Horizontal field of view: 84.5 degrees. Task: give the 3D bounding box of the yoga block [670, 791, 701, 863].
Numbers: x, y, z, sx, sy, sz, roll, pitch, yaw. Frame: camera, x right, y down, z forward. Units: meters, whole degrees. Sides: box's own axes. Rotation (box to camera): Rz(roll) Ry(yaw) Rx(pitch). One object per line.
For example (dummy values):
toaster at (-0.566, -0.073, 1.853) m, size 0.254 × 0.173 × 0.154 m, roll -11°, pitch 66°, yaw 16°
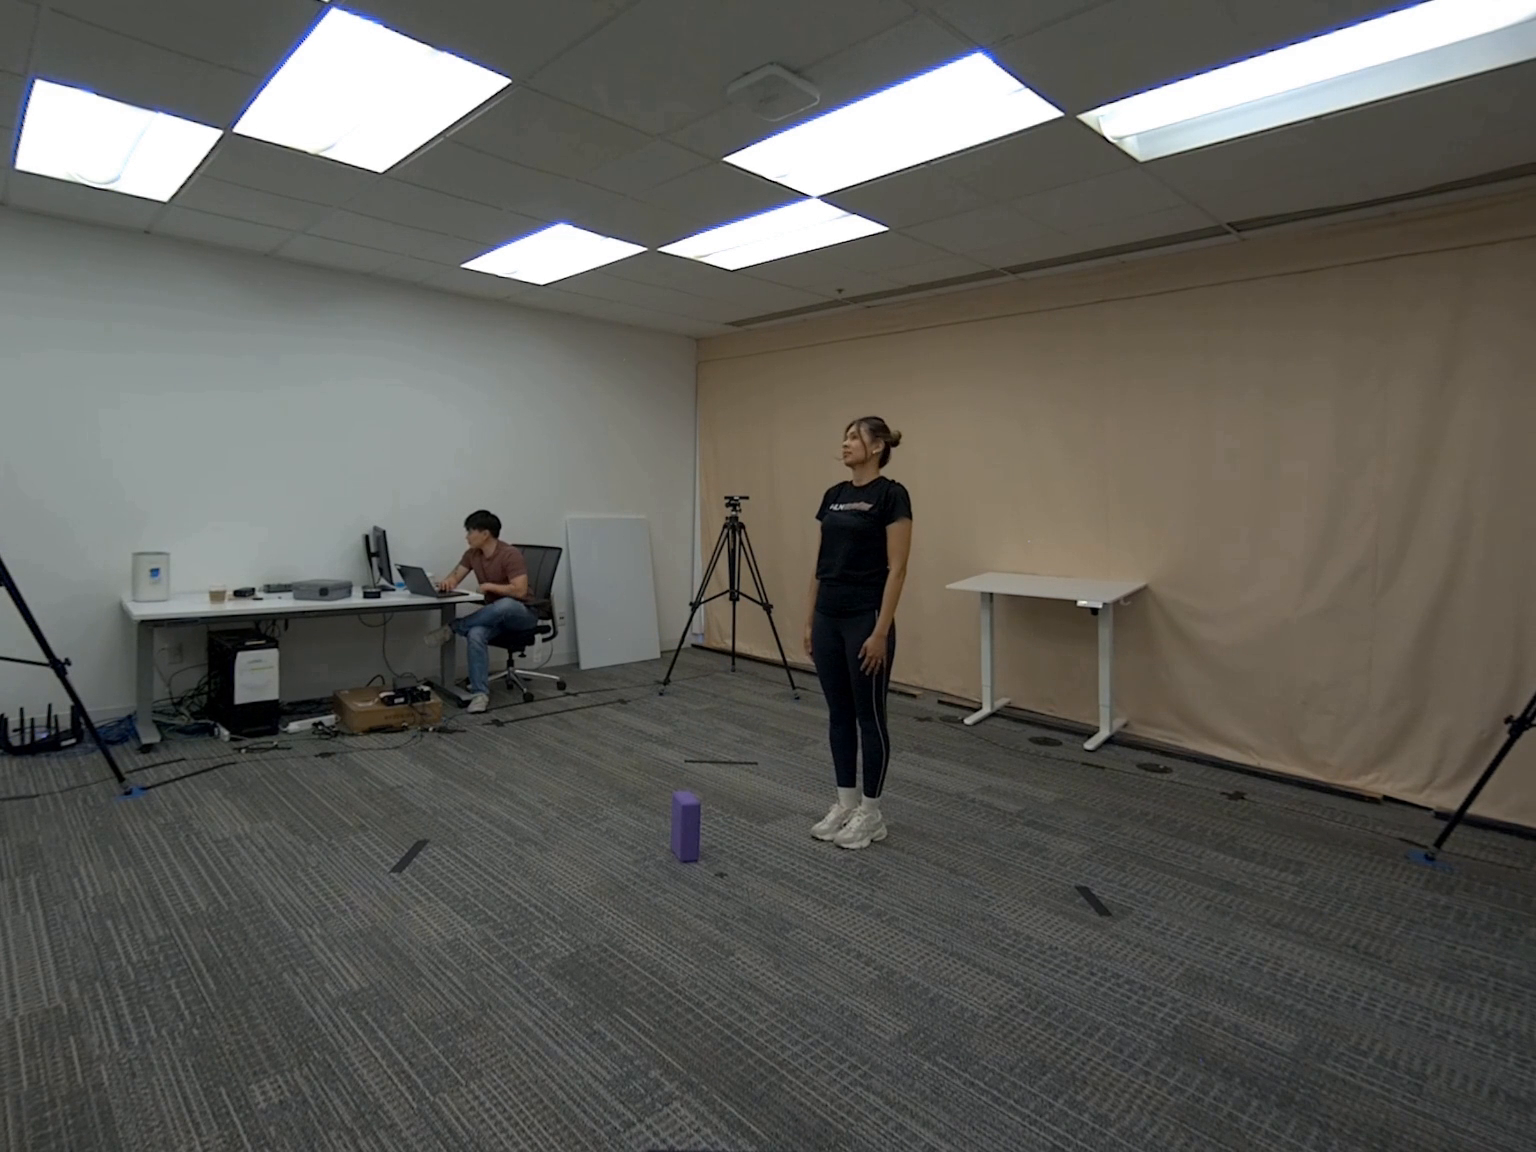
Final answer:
yoga block at (-0.328, 0.967, 3.262) m, size 0.075 × 0.229 × 0.152 m, roll 0°, pitch 4°, yaw -23°
